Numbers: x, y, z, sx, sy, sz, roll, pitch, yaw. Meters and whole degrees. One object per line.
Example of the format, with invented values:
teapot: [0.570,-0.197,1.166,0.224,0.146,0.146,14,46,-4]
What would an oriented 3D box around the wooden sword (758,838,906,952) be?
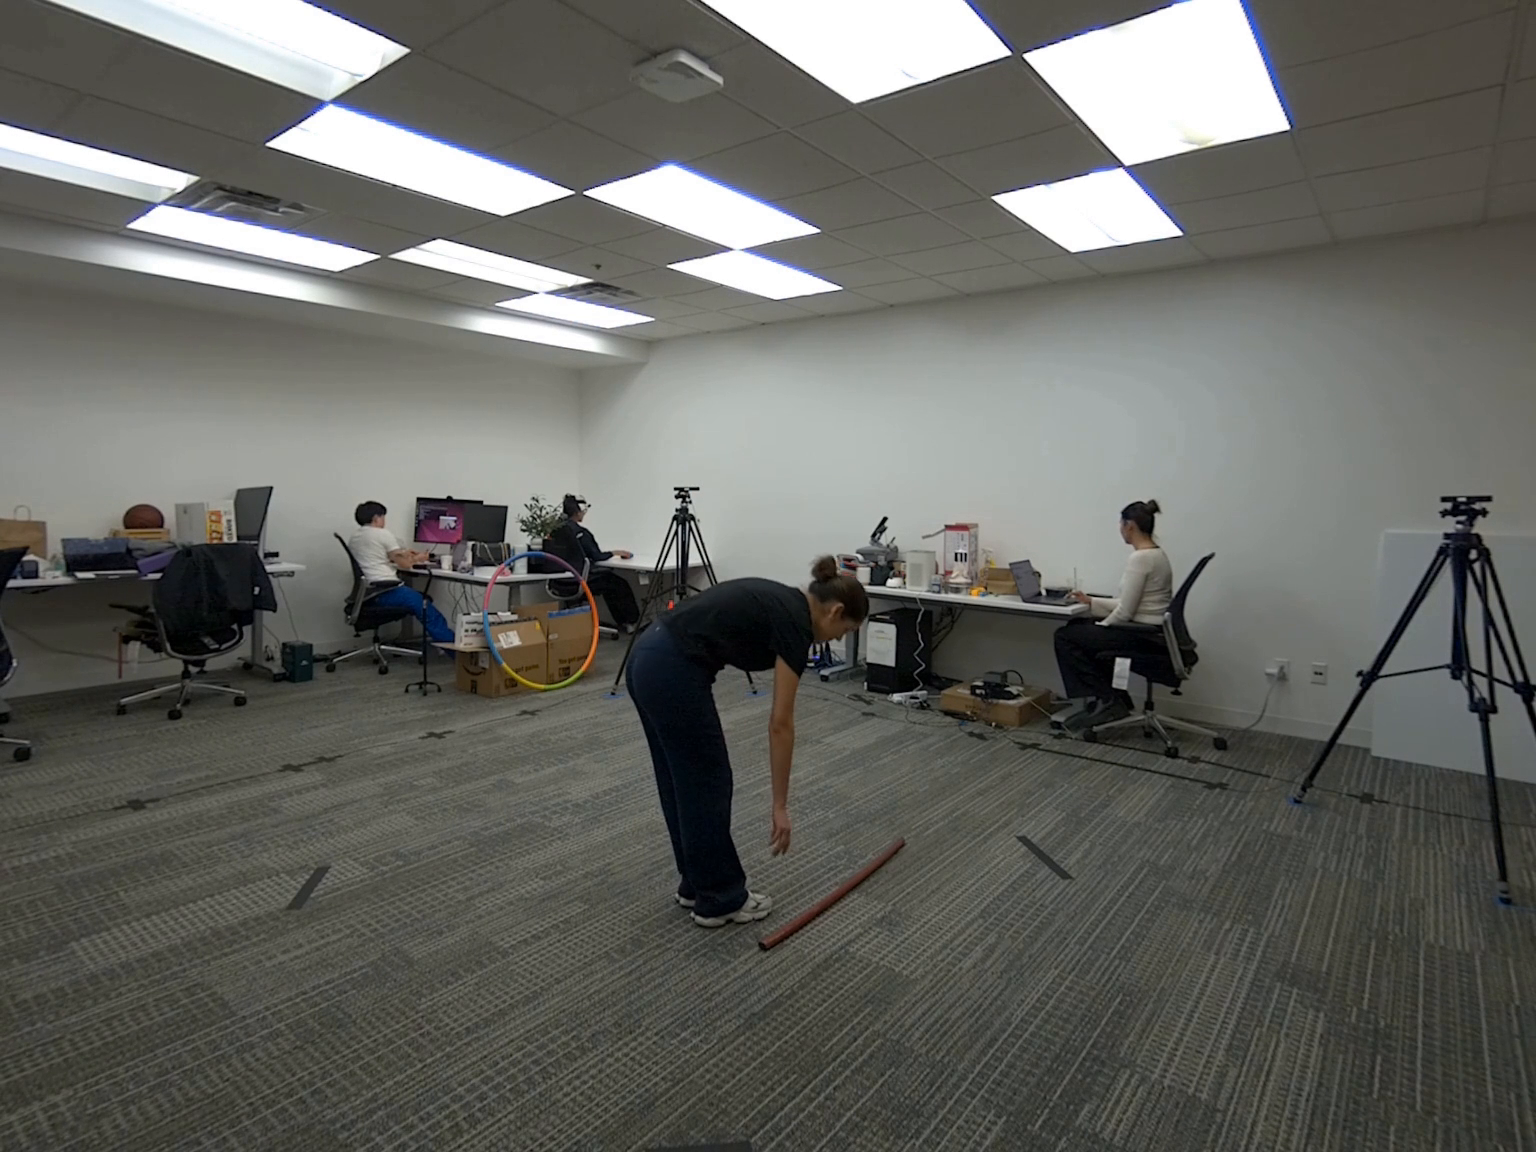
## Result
wooden sword: [0.272,1.068,2.966,0.053,0.024,0.996,5,6,35]
